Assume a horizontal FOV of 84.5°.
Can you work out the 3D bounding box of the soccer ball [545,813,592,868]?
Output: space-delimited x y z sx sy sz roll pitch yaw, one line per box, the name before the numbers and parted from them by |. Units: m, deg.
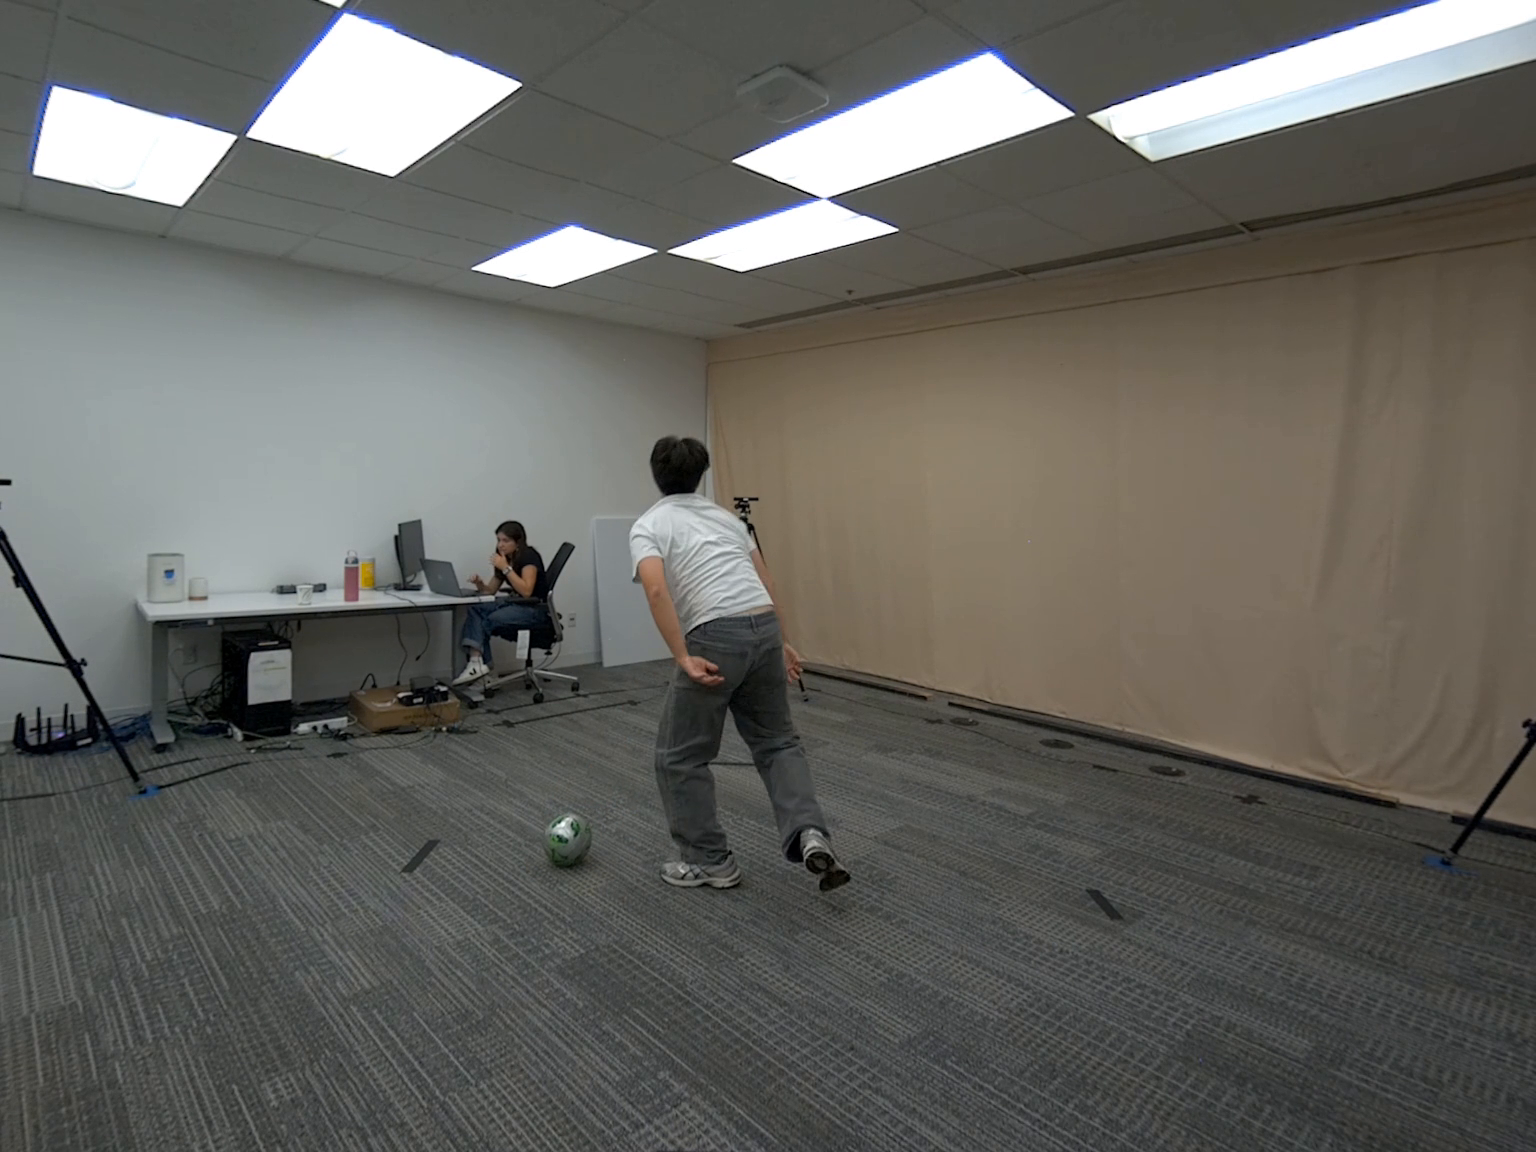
soccer ball | -0.756 0.989 3.174 0.187 0.187 0.188 1 4 -1
